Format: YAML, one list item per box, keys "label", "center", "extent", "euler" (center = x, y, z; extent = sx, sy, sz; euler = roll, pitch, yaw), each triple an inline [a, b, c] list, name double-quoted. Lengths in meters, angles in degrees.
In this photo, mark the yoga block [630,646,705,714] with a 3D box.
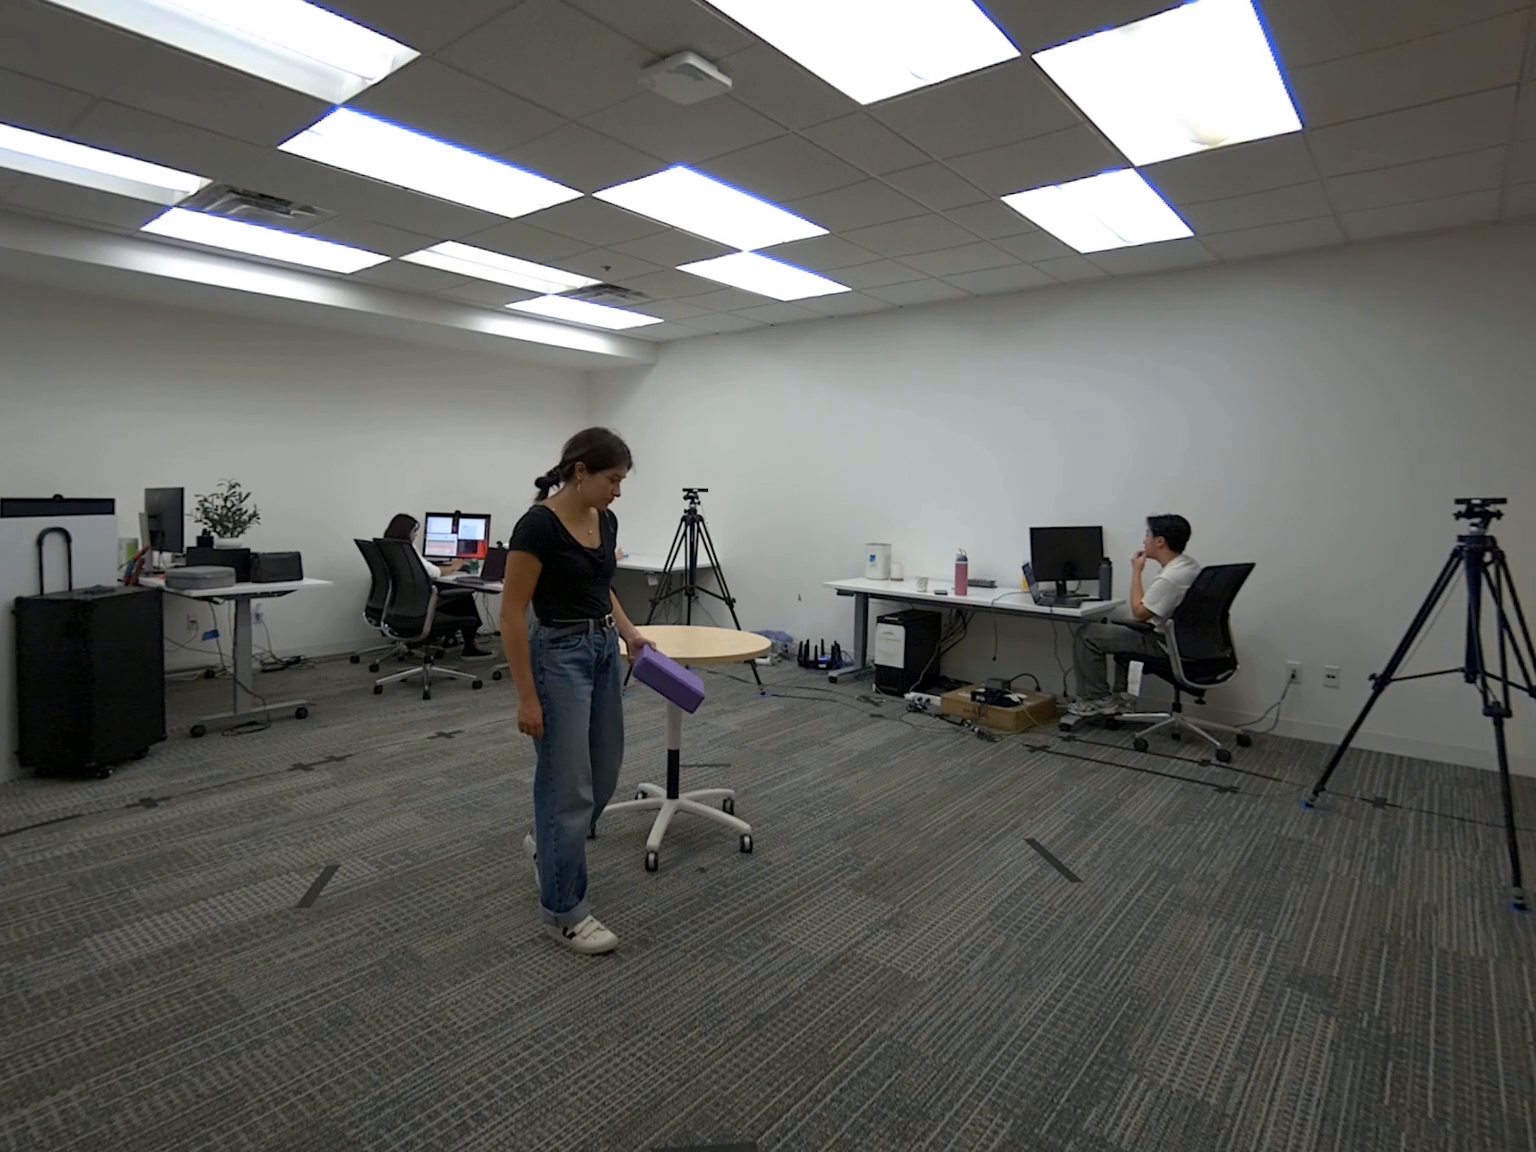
- label: "yoga block"
  center: [-0.313, 0.312, 2.658]
  extent: [0.228, 0.076, 0.150]
  euler: [35, 6, -4]
